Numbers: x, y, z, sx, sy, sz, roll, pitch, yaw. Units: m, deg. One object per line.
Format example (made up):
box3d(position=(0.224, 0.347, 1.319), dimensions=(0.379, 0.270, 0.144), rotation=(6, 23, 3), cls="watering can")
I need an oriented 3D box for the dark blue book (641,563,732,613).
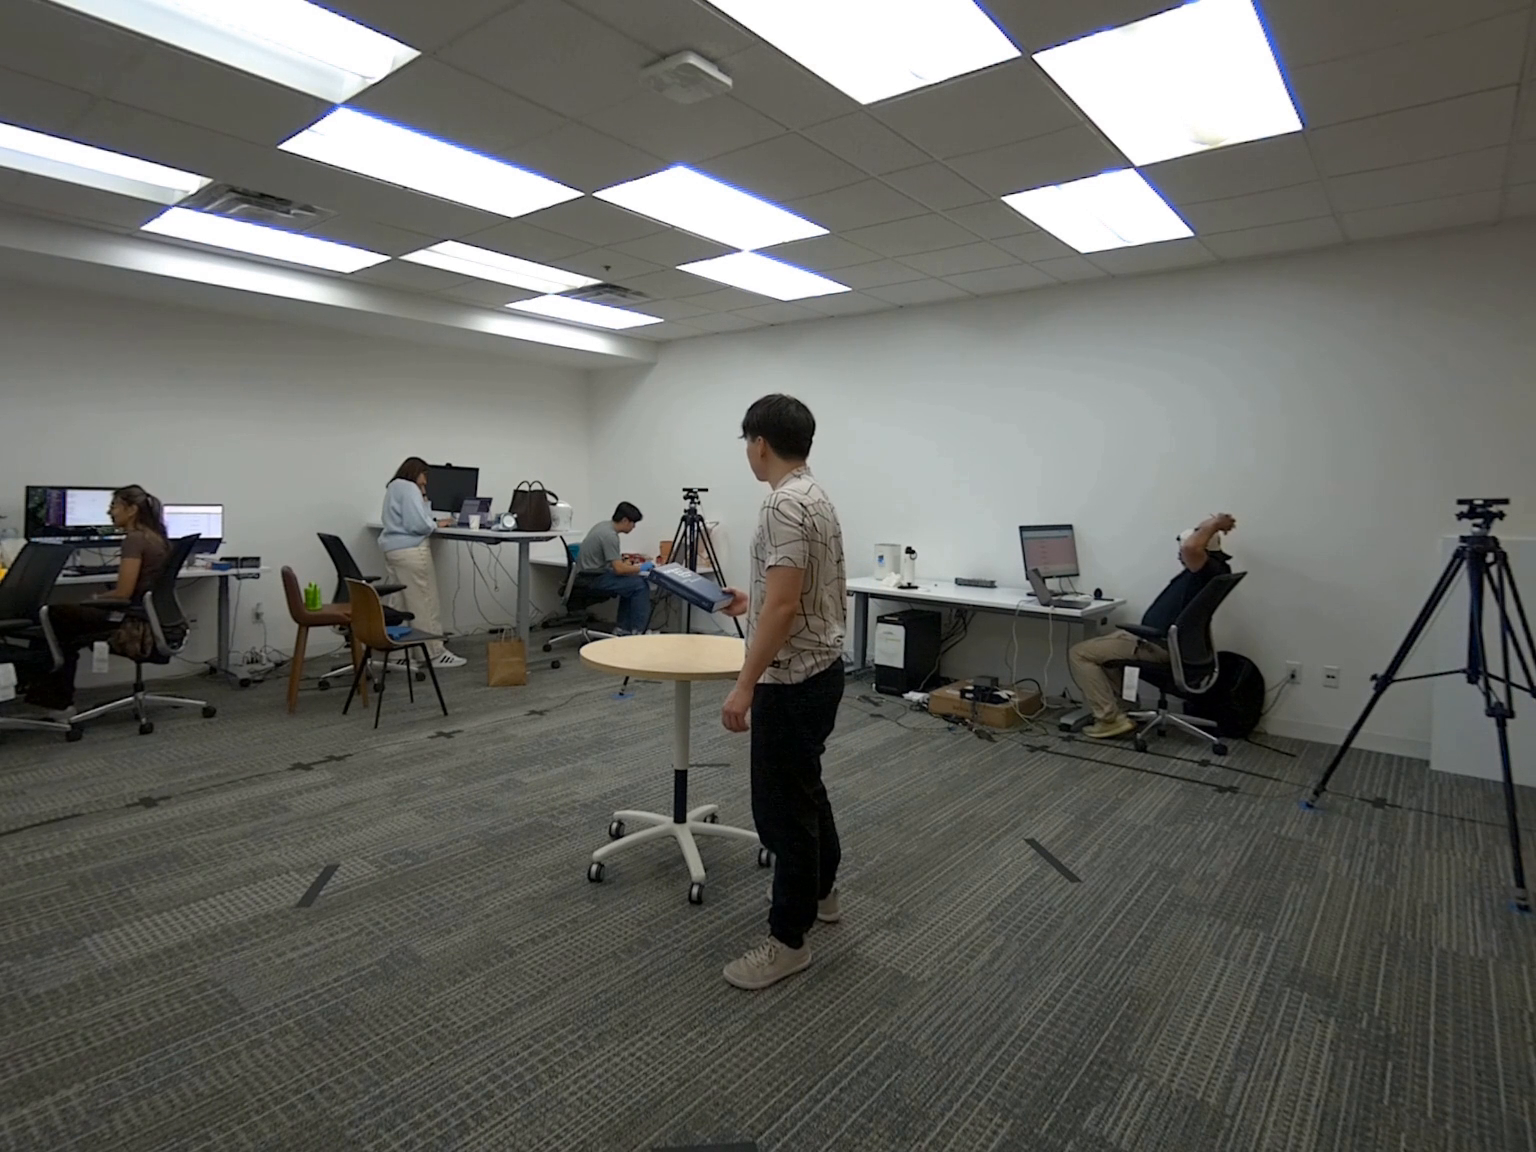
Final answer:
box3d(position=(-0.250, 0.034, 2.747), dimensions=(0.251, 0.045, 0.160), rotation=(25, 15, 18), cls="dark blue book")
